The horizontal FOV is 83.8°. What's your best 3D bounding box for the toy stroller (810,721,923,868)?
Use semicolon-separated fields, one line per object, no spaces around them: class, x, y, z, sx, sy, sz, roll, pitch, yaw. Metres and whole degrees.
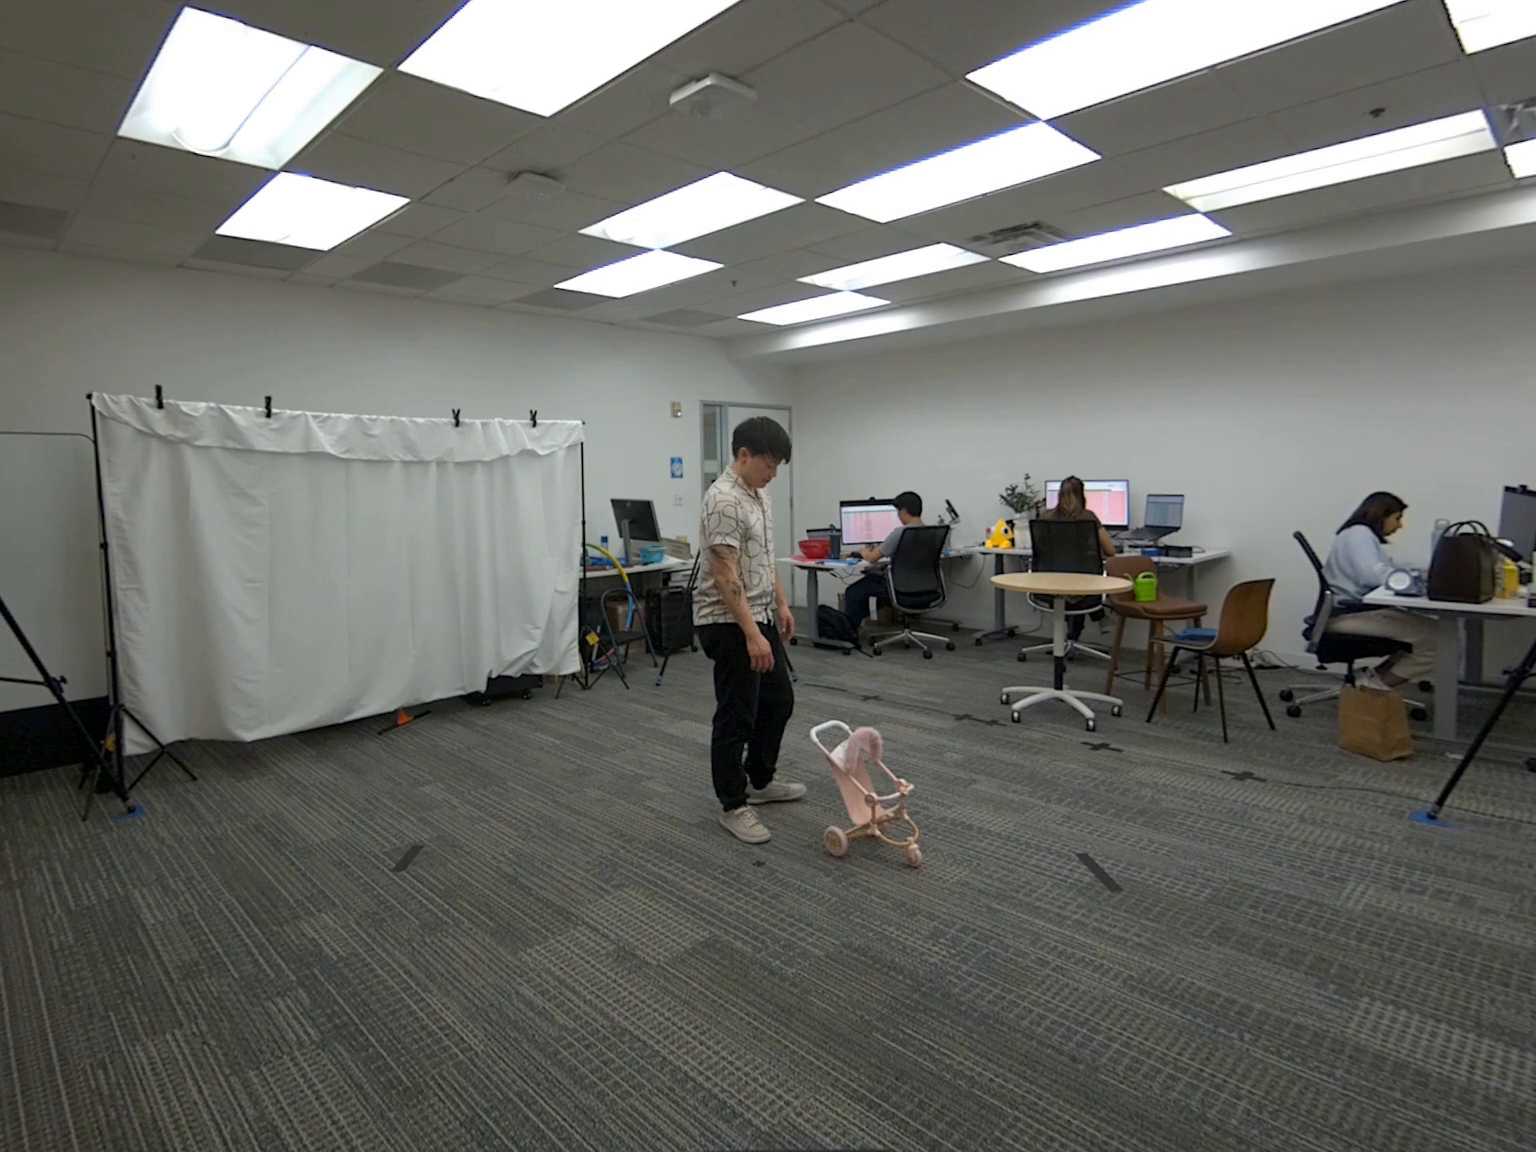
toy stroller;0.378;0.805;3.190;0.274;0.540;0.347;-5;-10;-41
